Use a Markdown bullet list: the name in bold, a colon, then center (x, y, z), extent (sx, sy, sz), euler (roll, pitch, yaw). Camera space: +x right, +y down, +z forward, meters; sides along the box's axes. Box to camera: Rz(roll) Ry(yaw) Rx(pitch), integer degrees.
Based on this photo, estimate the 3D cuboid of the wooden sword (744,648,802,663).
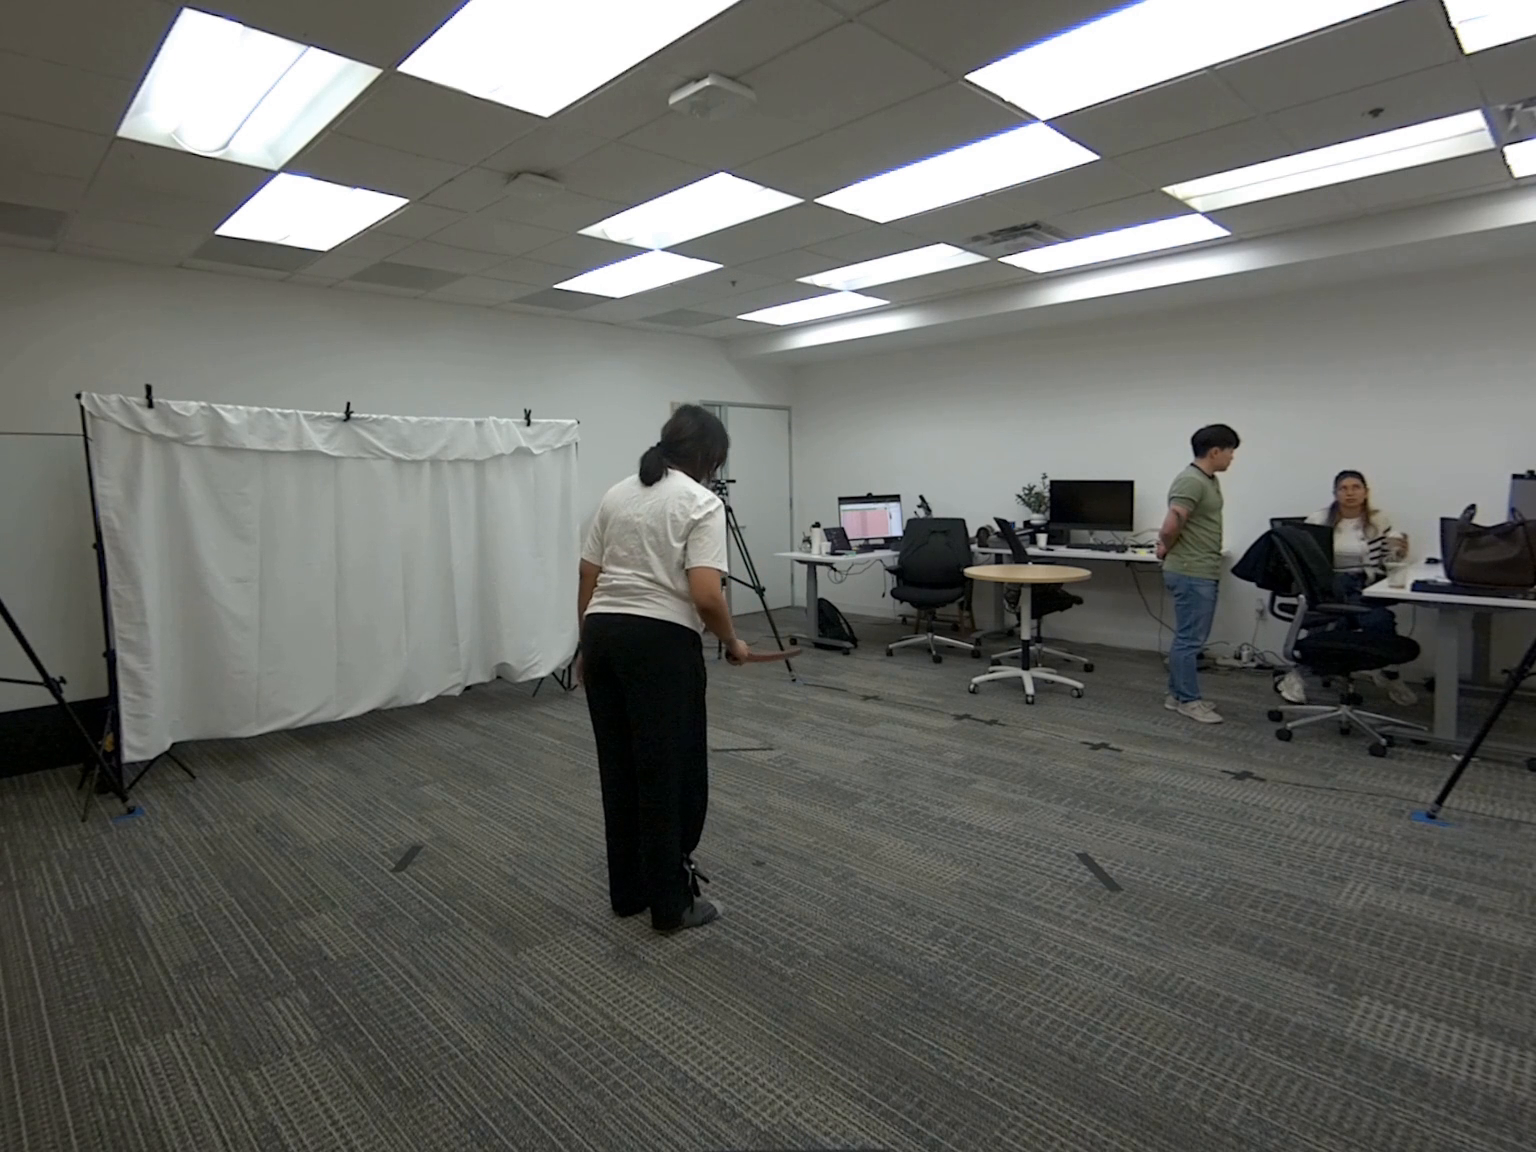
- **wooden sword**: center (0.045, 0.297, 3.237), extent (0.024, 0.051, 1.004), euler (-2, -4, 16)
